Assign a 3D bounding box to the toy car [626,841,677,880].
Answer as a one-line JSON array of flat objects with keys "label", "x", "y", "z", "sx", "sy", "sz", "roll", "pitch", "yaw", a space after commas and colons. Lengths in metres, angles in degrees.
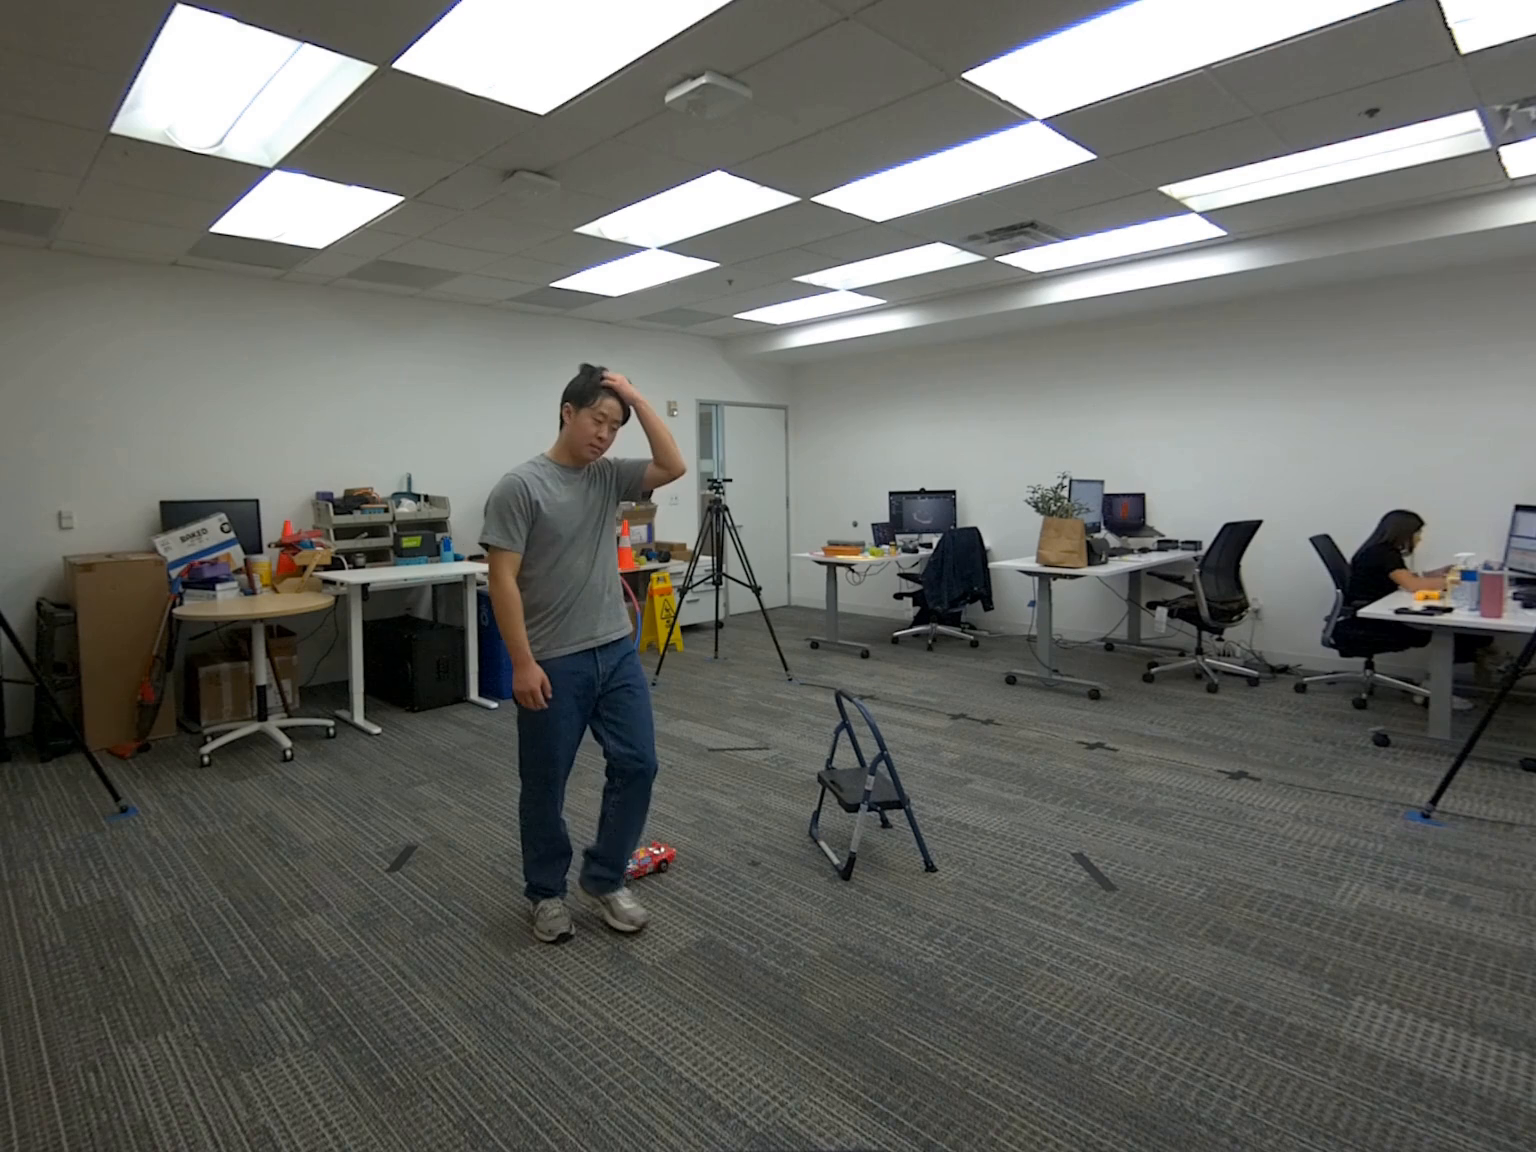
[{"label": "toy car", "x": -0.446, "y": 1.026, "z": 3.052, "sx": 0.250, "sy": 0.082, "sz": 0.134, "roll": -20, "pitch": 16, "yaw": -37}]
